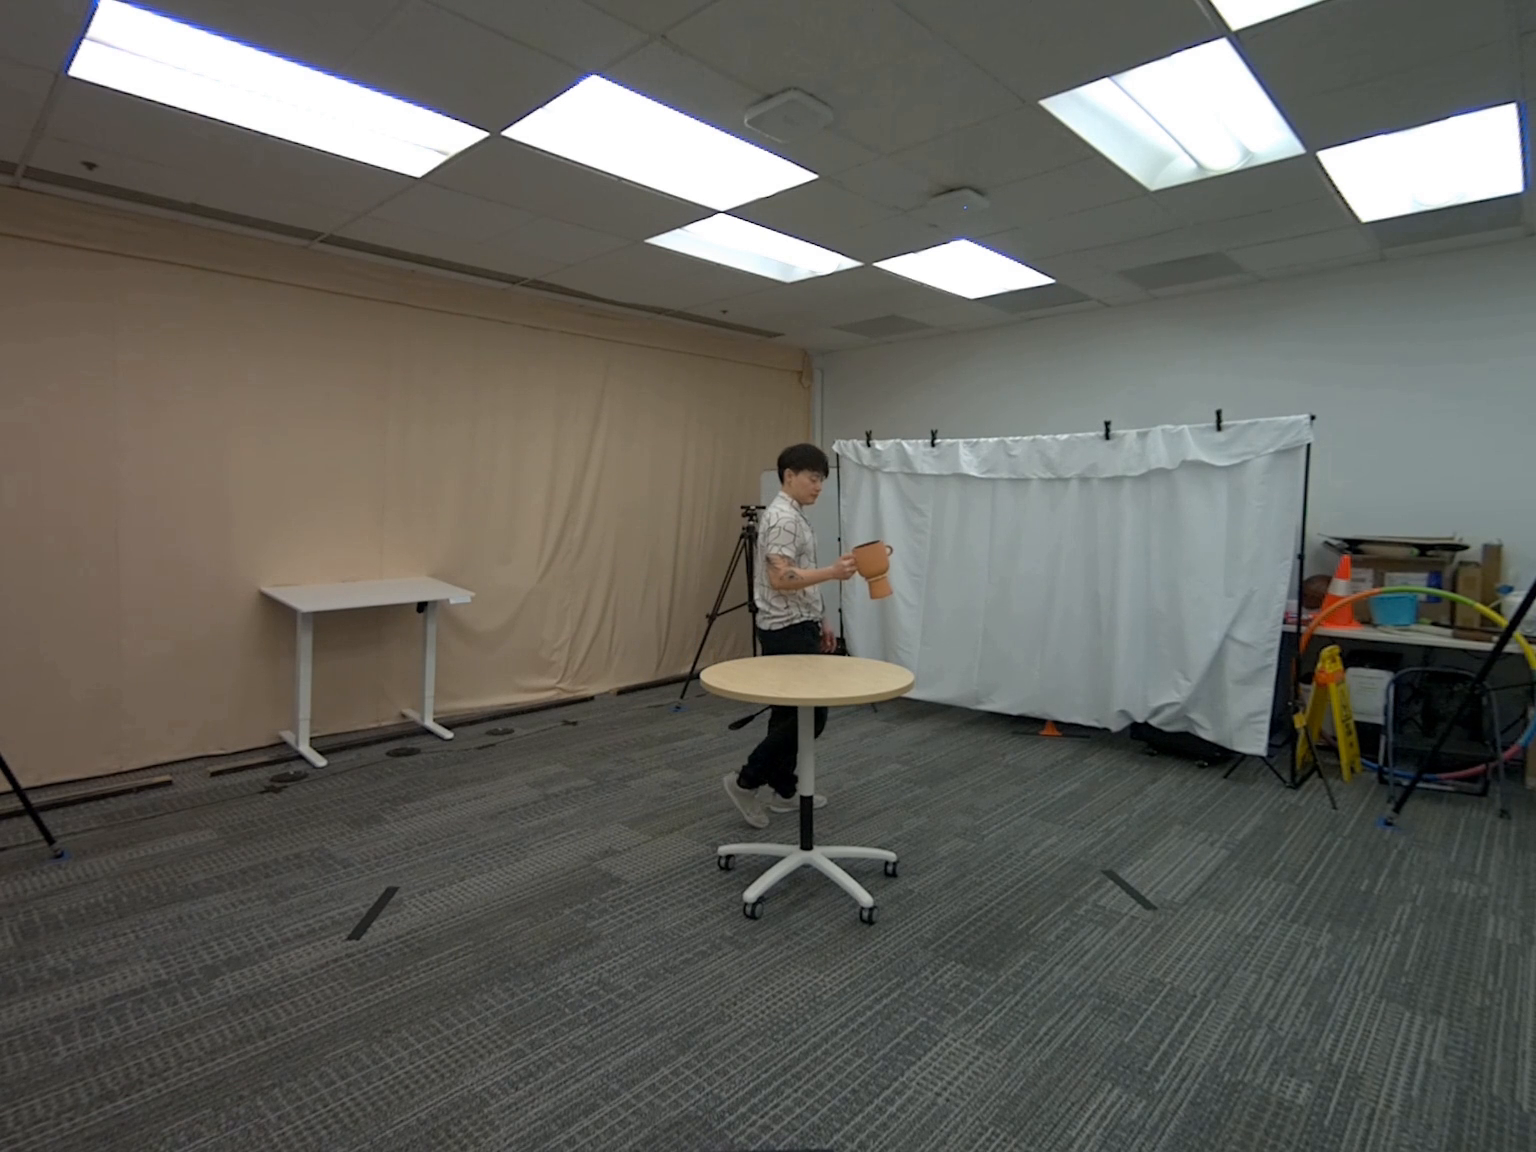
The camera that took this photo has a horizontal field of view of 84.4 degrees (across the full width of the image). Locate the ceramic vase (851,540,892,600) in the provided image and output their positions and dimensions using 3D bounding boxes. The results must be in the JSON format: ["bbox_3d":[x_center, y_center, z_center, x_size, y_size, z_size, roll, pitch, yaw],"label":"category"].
[{"bbox_3d":[0.431,-0.024,3.445,0.163,0.219,0.132,-12,6,33],"label":"ceramic vase"}]
